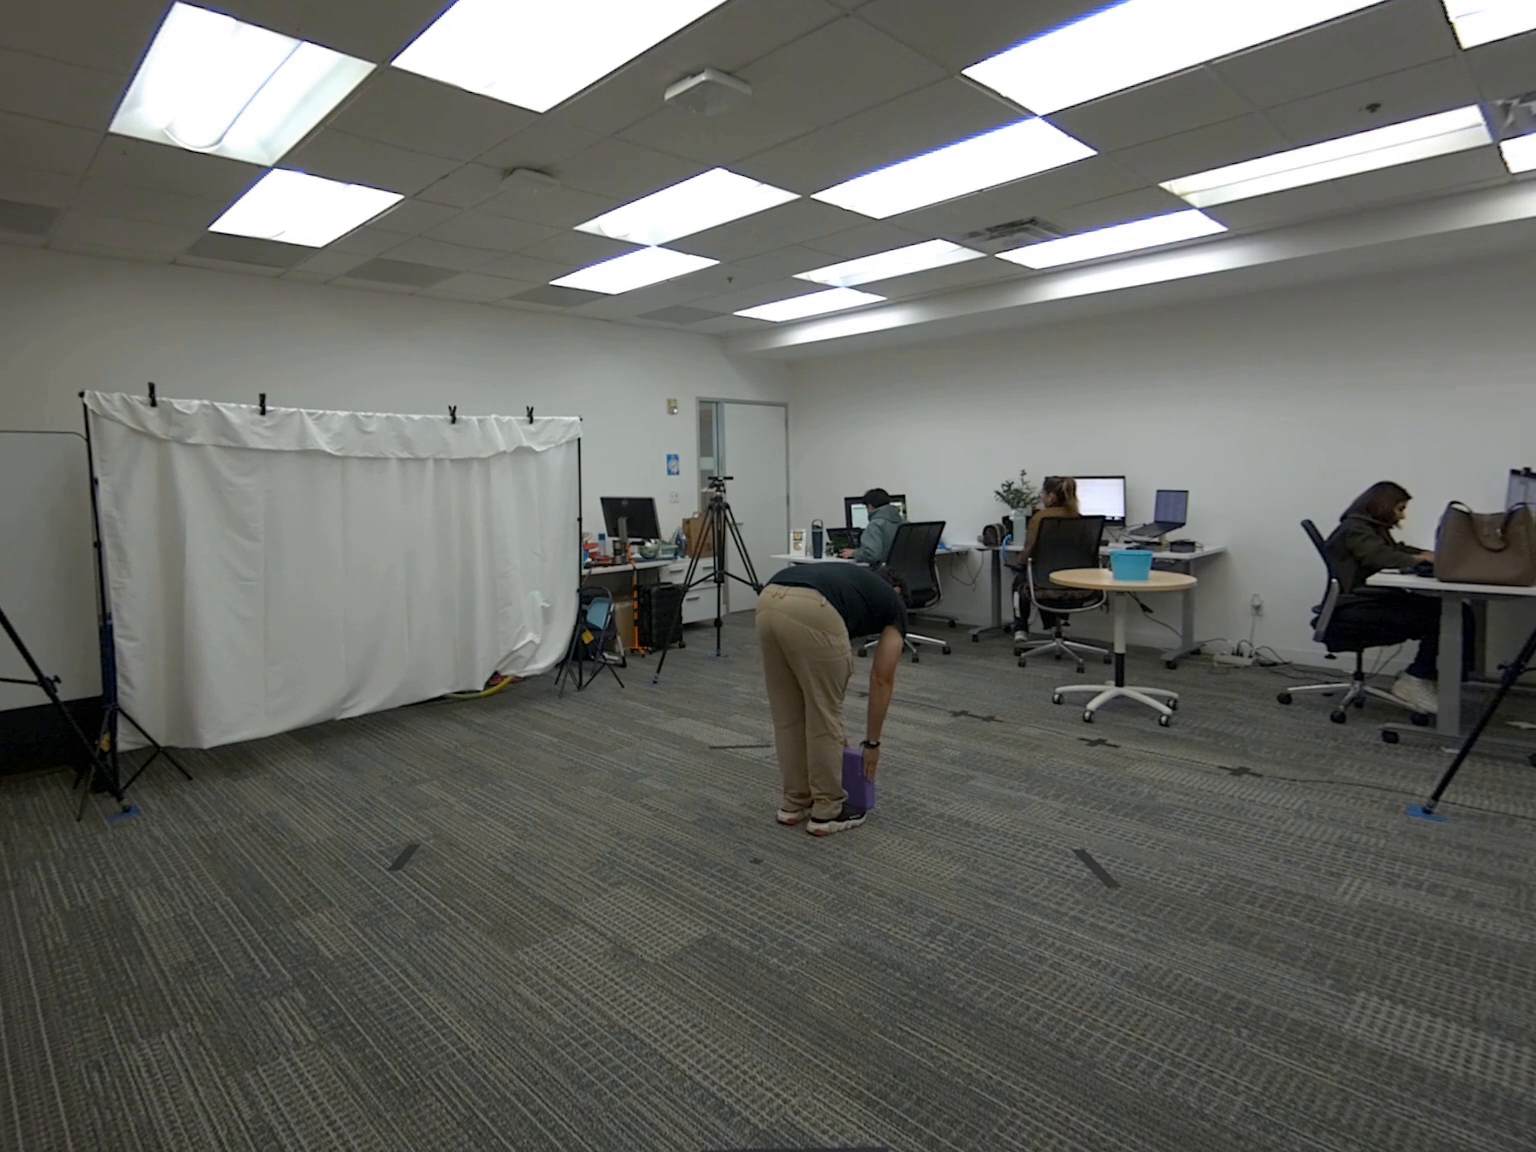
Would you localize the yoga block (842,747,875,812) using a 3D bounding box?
[{"bbox_3d":[0.374,0.857,3.621,0.074,0.228,0.153,-4,5,-43],"label":"yoga block"}]
